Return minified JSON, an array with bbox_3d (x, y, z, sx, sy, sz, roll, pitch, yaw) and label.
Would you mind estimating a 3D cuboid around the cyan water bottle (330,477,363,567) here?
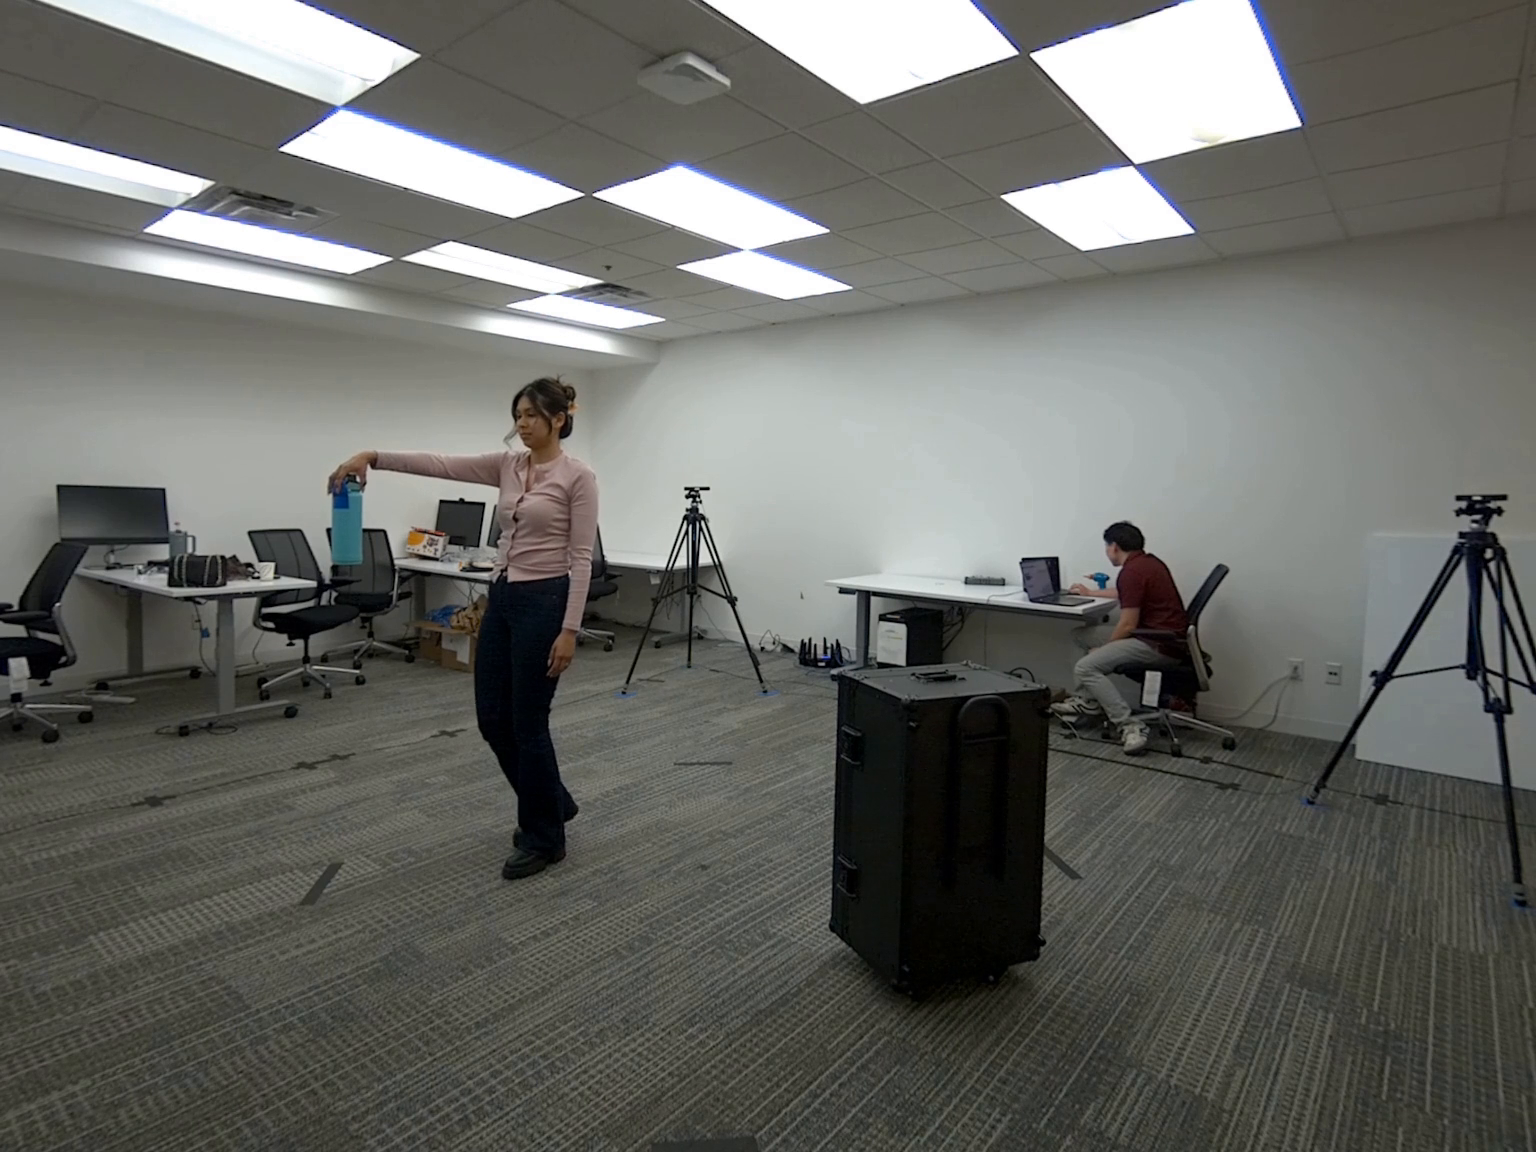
[{"bbox_3d":[-1.344,-0.180,2.666,0.092,0.283,0.093,2,3,-2],"label":"cyan water bottle"}]
